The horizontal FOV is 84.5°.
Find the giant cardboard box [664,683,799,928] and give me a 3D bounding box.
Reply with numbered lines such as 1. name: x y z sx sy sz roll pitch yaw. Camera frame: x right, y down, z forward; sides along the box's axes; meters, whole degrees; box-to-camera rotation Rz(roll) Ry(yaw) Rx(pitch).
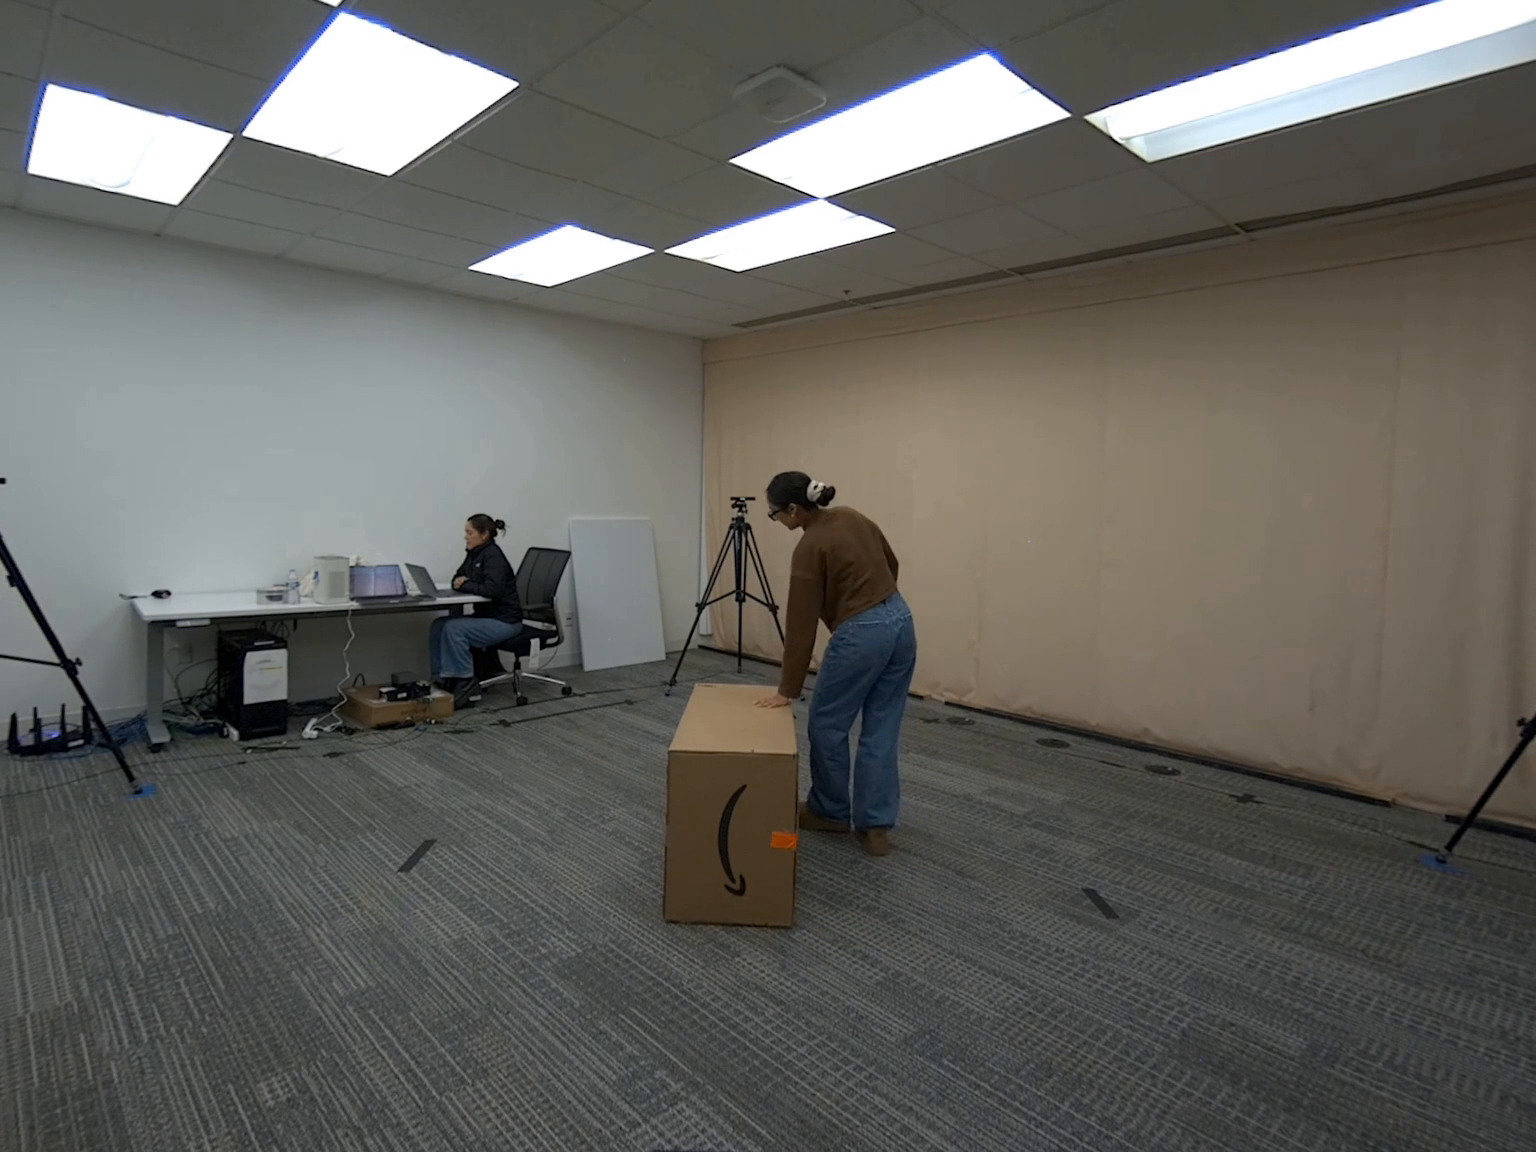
1. giant cardboard box: -0.125 0.811 3.229 0.447 0.582 1.028 1 5 1
